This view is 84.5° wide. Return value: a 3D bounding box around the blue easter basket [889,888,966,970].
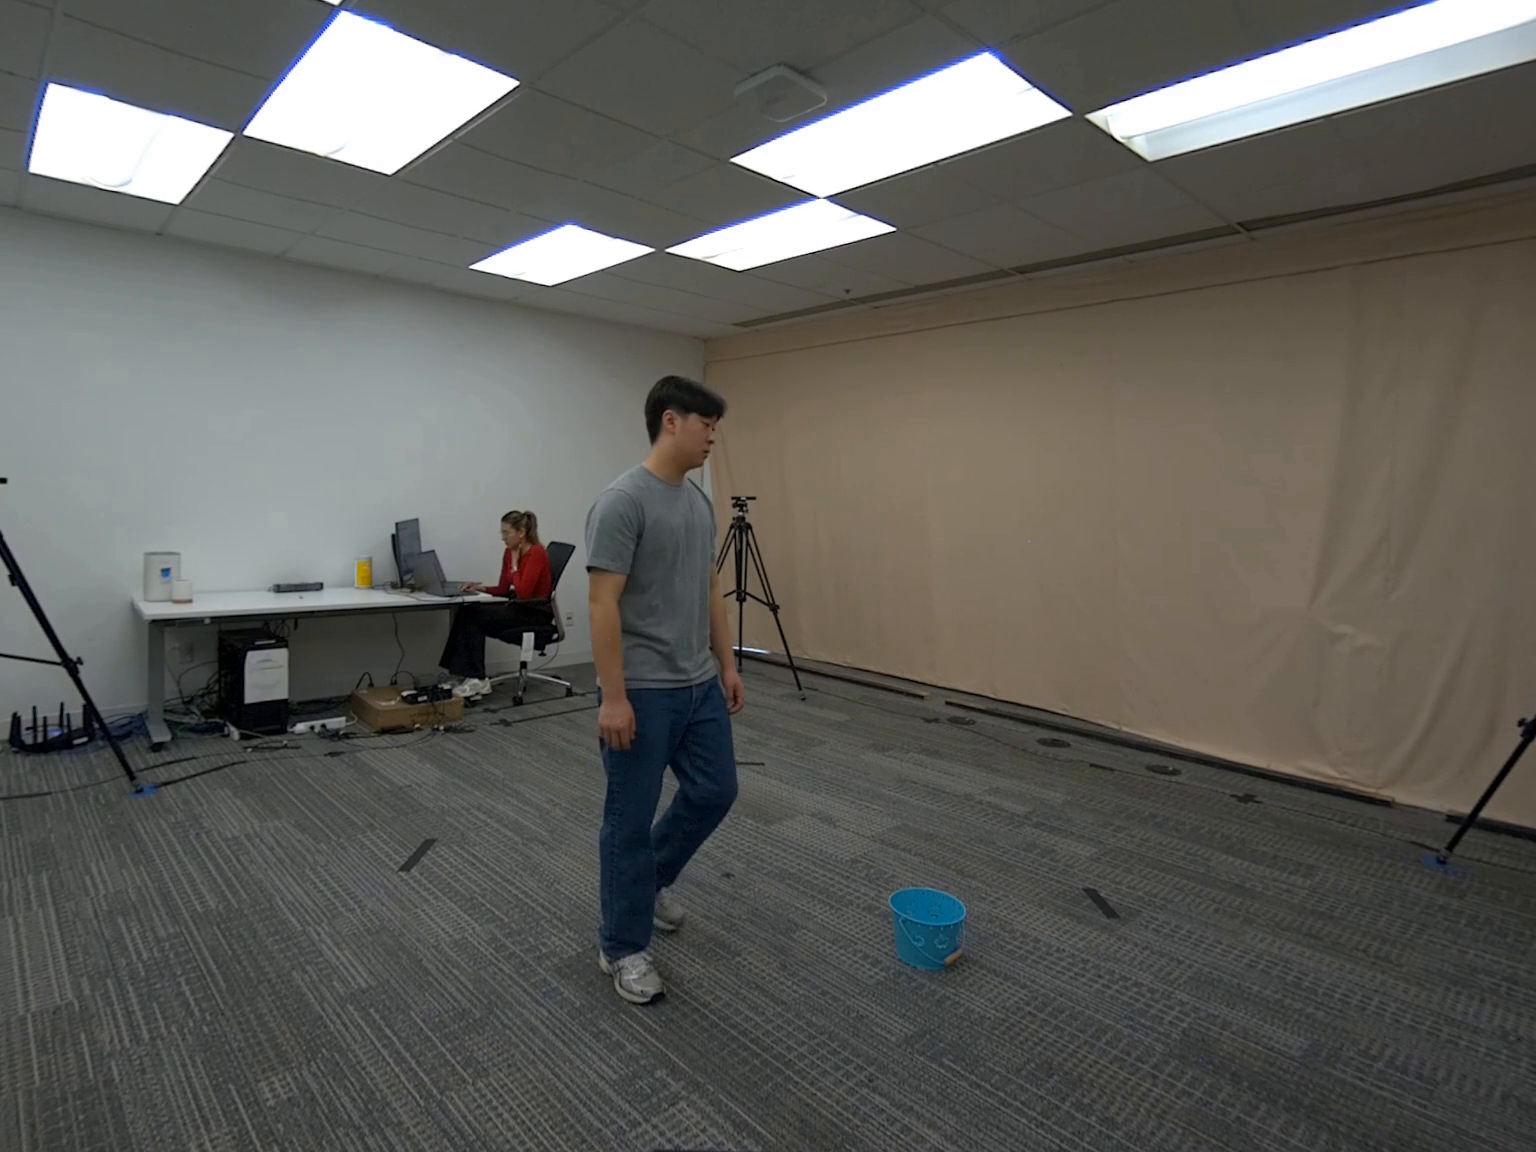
[{"bbox_3d":[0.481,1.087,2.596,0.243,0.155,0.244,1,5,-1],"label":"blue easter basket"}]
